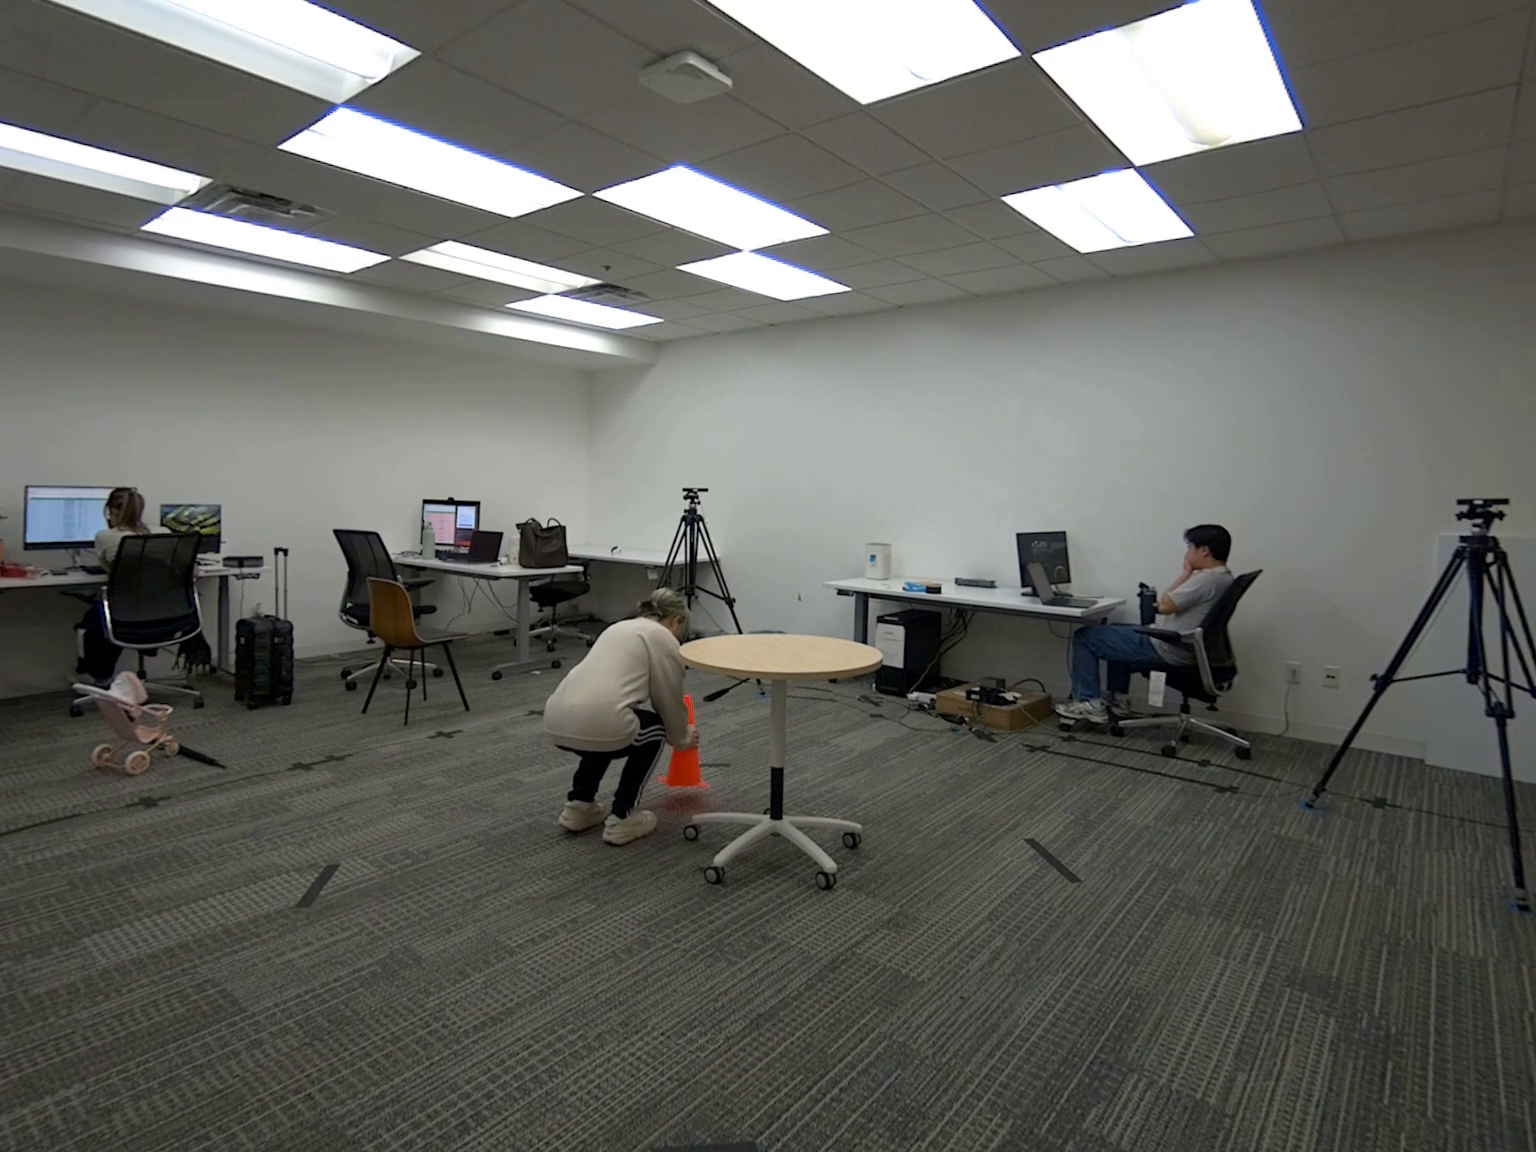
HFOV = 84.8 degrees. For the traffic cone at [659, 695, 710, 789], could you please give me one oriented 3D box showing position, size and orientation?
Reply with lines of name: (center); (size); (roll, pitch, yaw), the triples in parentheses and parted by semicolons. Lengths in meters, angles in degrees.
traffic cone: (-0.383, 0.732, 3.805); (0.200, 0.383, 0.208); (4, 2, -23)
